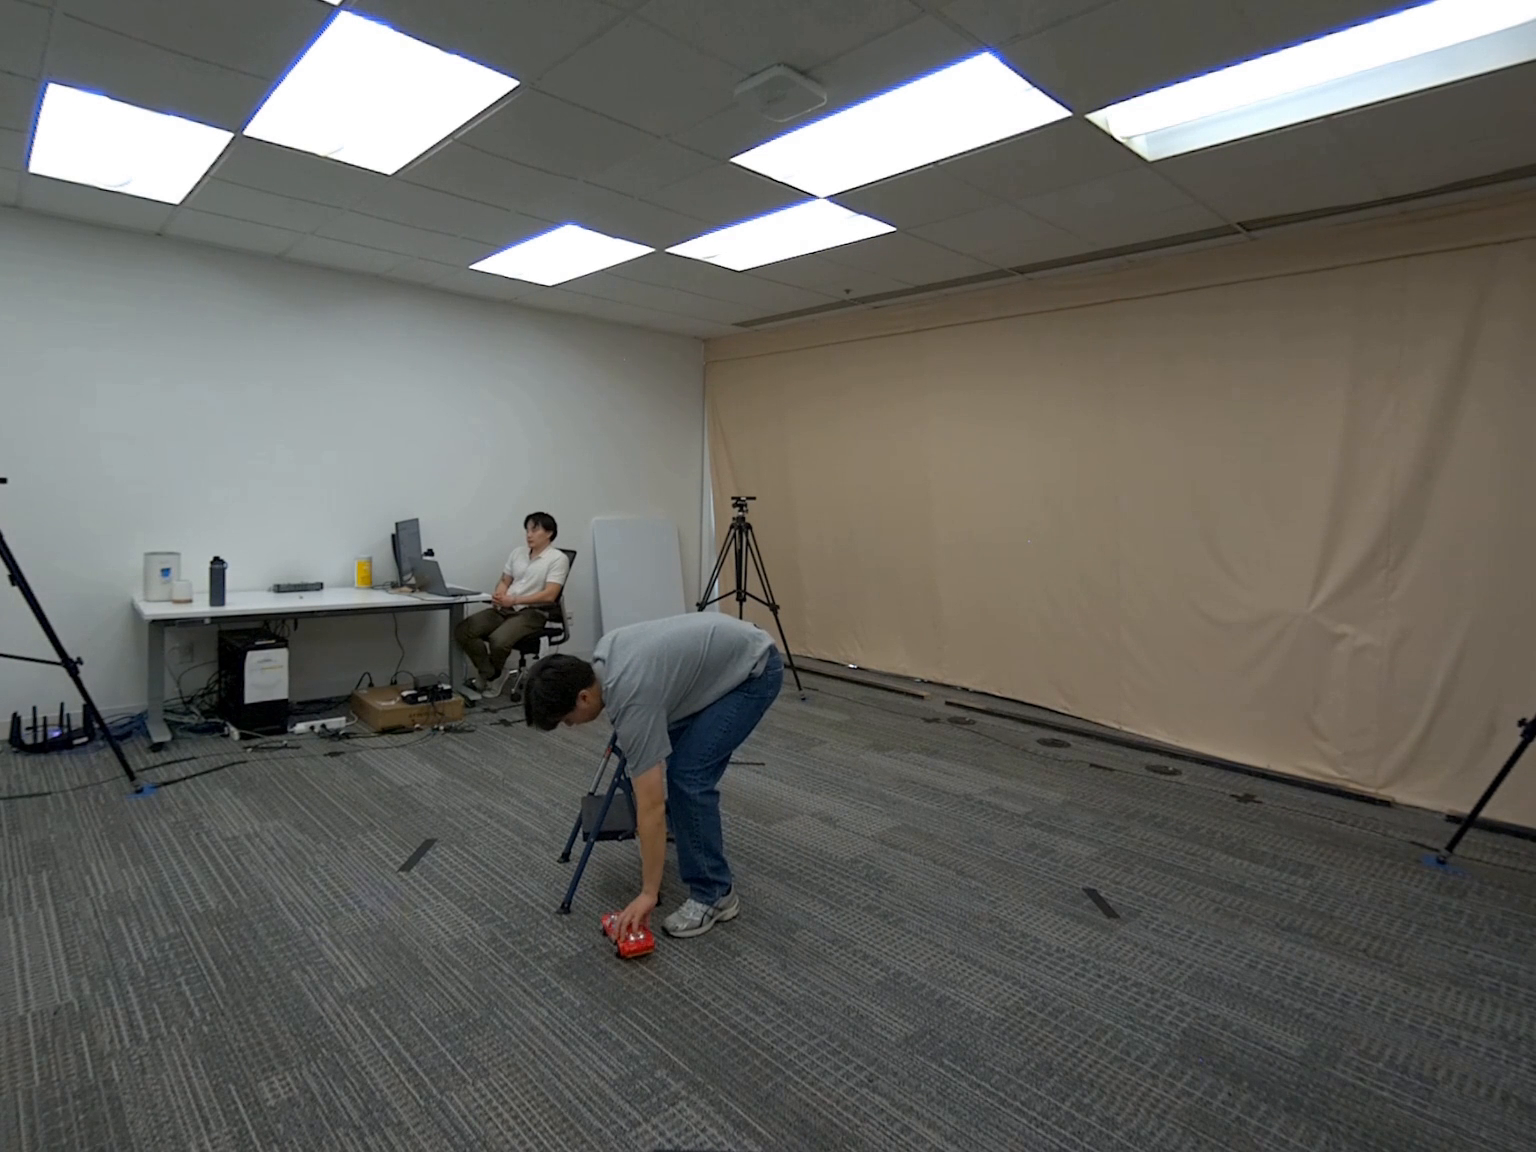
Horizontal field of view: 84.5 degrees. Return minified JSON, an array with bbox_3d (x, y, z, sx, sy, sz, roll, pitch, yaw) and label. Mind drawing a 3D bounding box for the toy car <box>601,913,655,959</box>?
[{"bbox_3d":[-0.450,1.116,2.618,0.128,0.083,0.258,-2,-4,-27],"label":"toy car"}]
